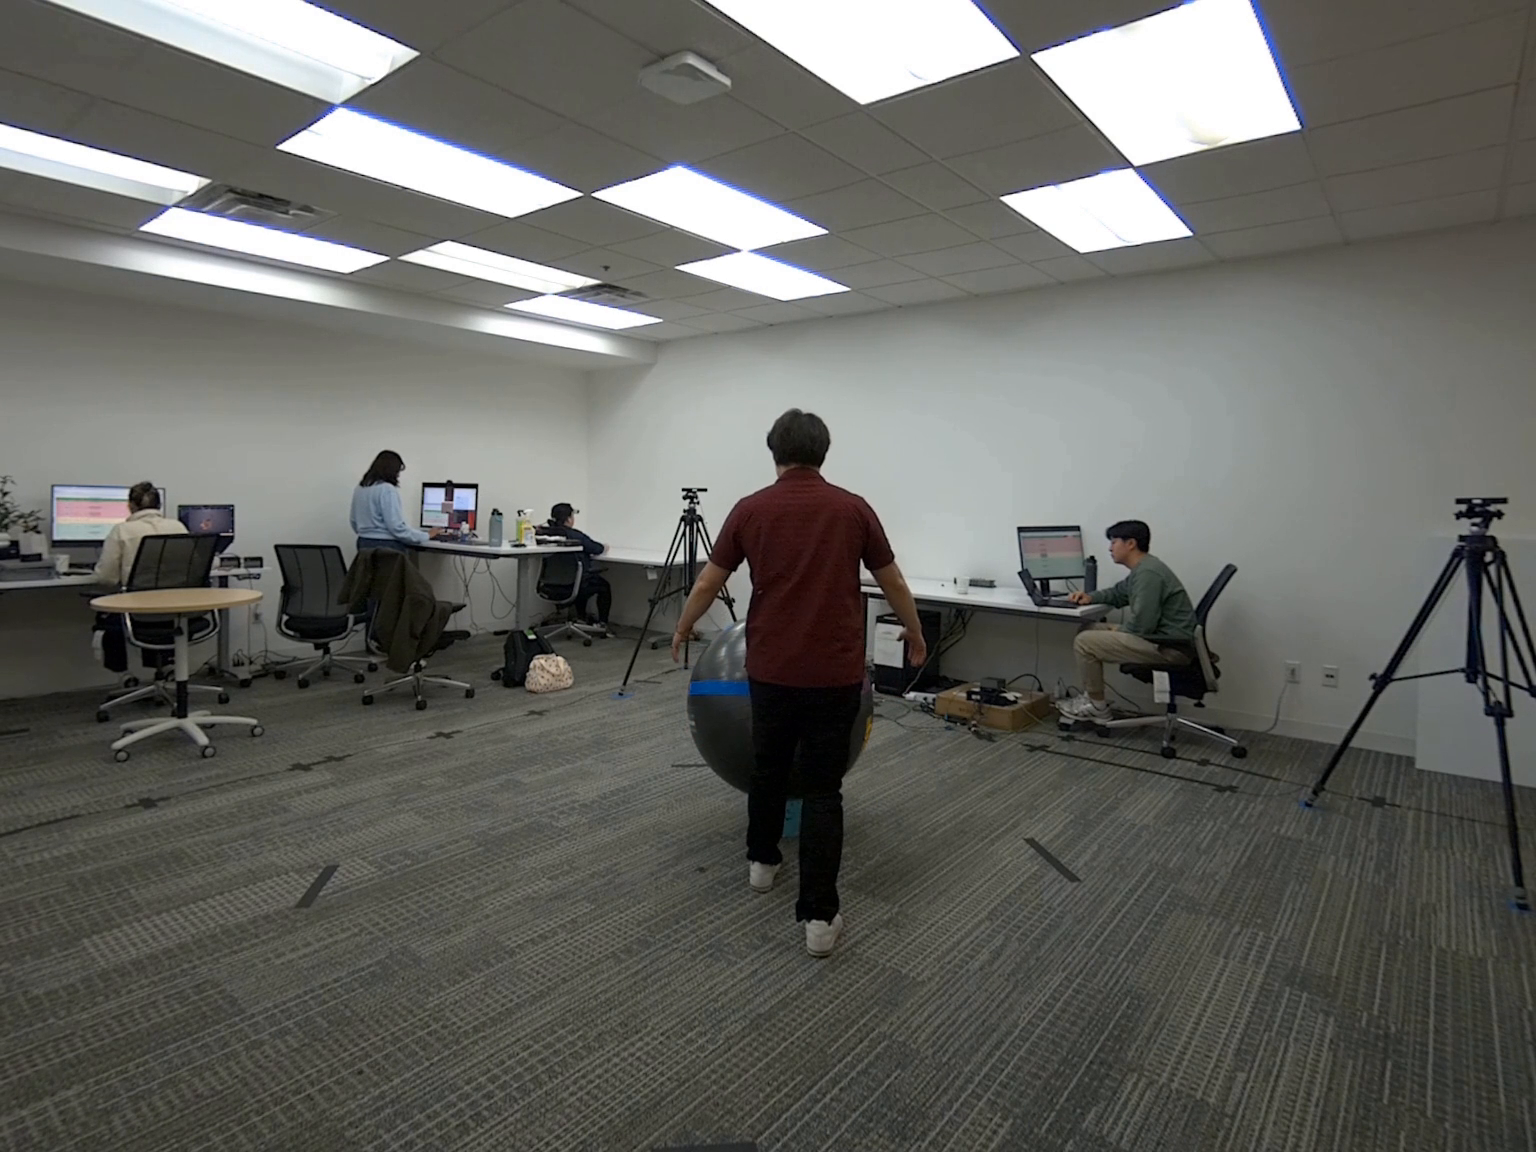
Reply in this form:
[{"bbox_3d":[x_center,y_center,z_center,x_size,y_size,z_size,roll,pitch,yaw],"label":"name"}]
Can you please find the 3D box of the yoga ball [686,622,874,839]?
[{"bbox_3d":[0.040,0.528,3.498,0.757,0.756,0.762,1,4,-2],"label":"yoga ball"}]
